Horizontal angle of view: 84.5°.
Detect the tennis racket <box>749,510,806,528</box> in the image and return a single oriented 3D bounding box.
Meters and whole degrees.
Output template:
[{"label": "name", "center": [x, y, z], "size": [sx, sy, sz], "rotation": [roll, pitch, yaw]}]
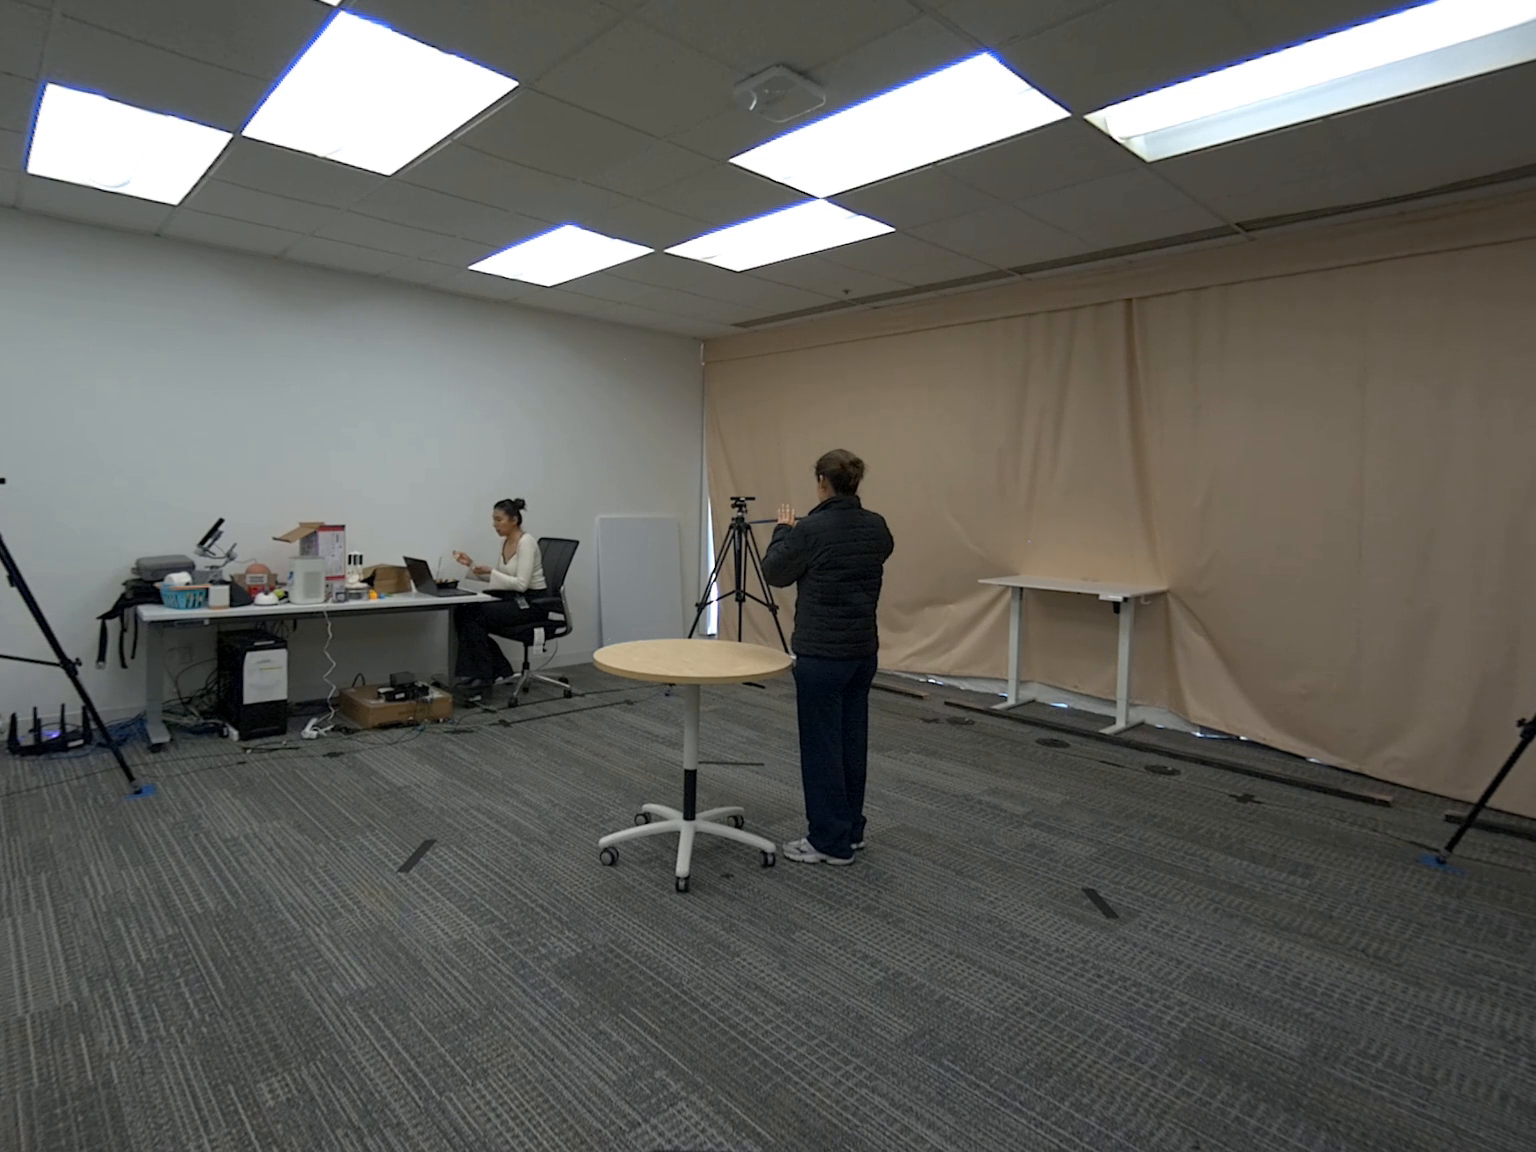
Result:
[{"label": "tennis racket", "center": [0.127, -0.245, 3.626], "size": [0.433, 0.031, 0.214], "rotation": [-4, 5, 1]}]
